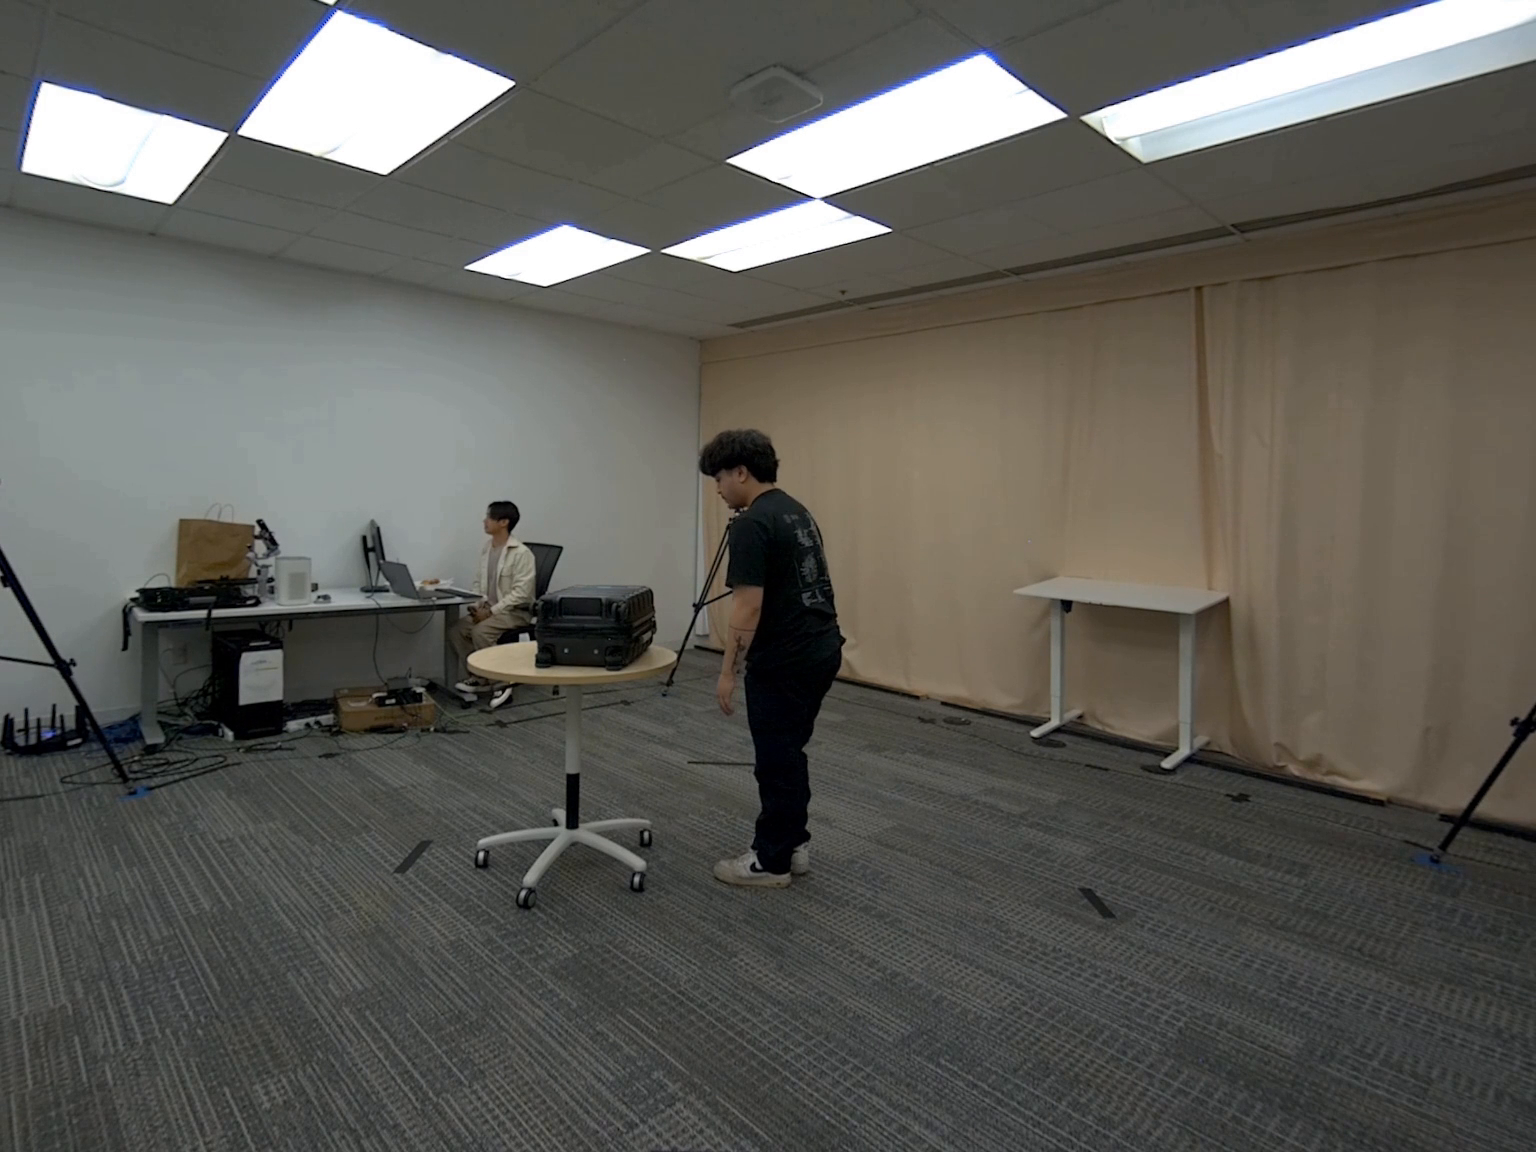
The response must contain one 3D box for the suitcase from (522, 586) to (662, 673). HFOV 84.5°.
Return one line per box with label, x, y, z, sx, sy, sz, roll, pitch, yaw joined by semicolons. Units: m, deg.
suitcase;-0.633;0.182;3.138;0.377;0.248;0.548;0;3;4
